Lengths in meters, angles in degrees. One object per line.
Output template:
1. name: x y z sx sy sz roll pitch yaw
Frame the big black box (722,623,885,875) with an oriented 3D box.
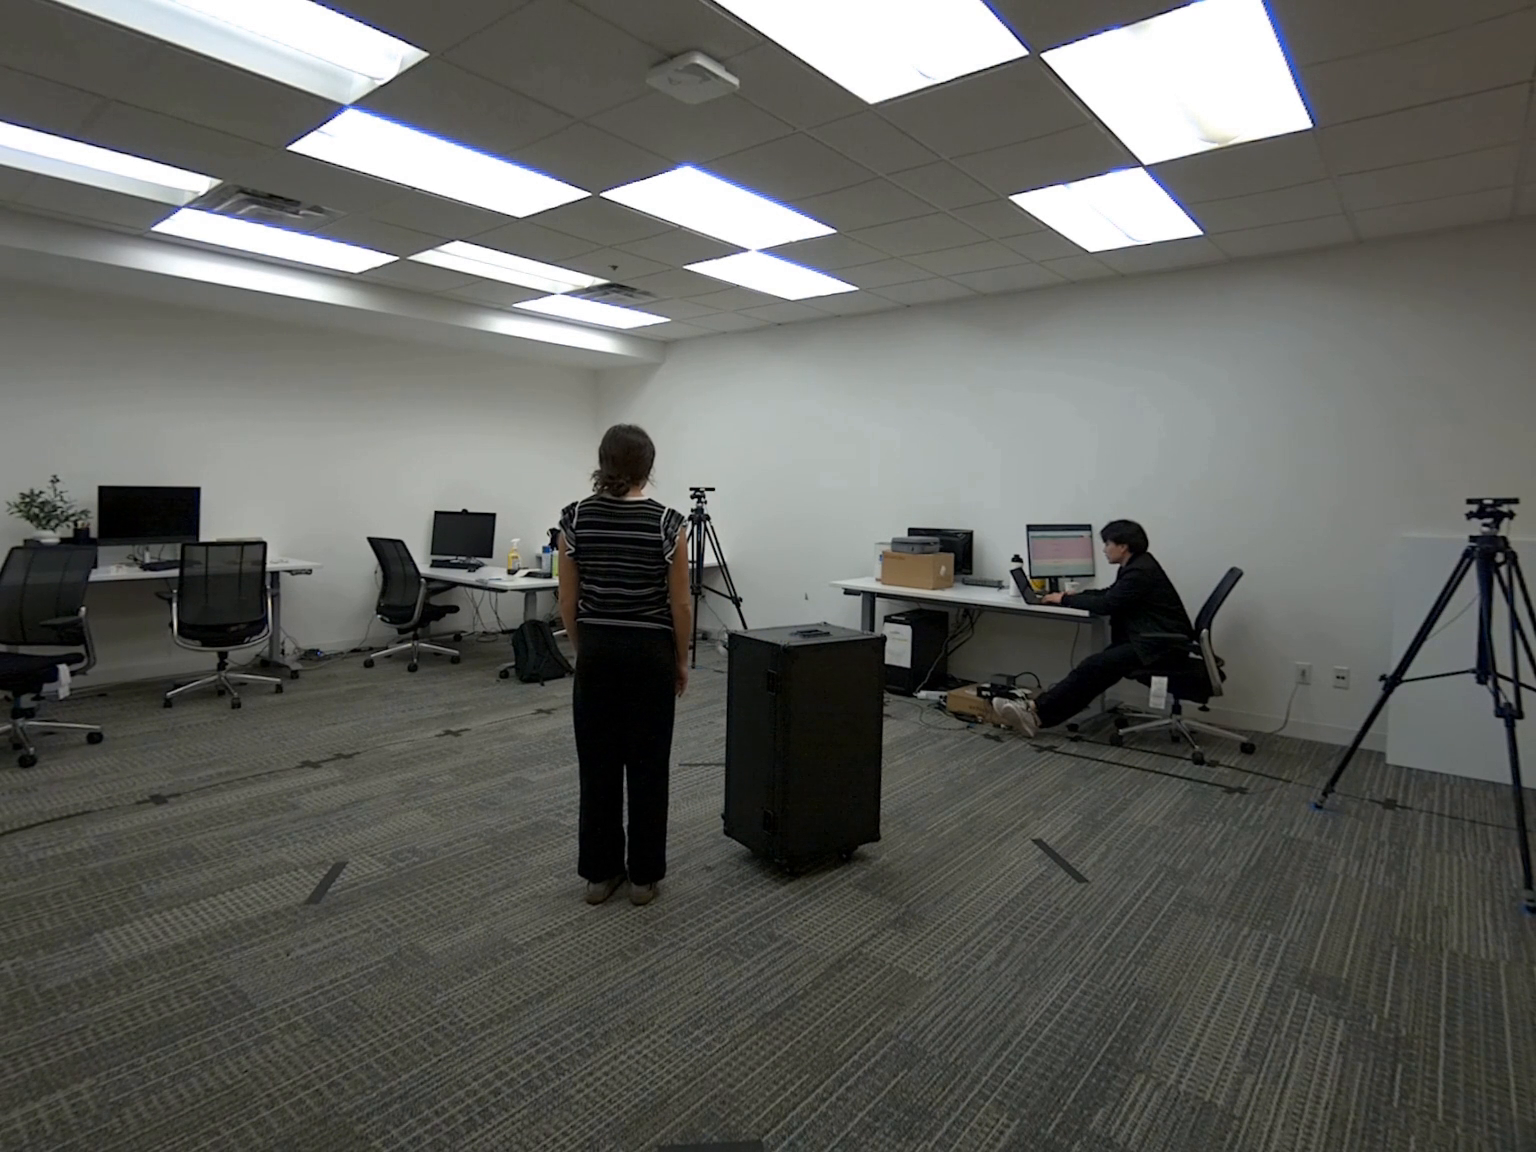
1. big black box: 0.115 0.637 3.224 0.506 0.860 0.409 -1 3 -34
